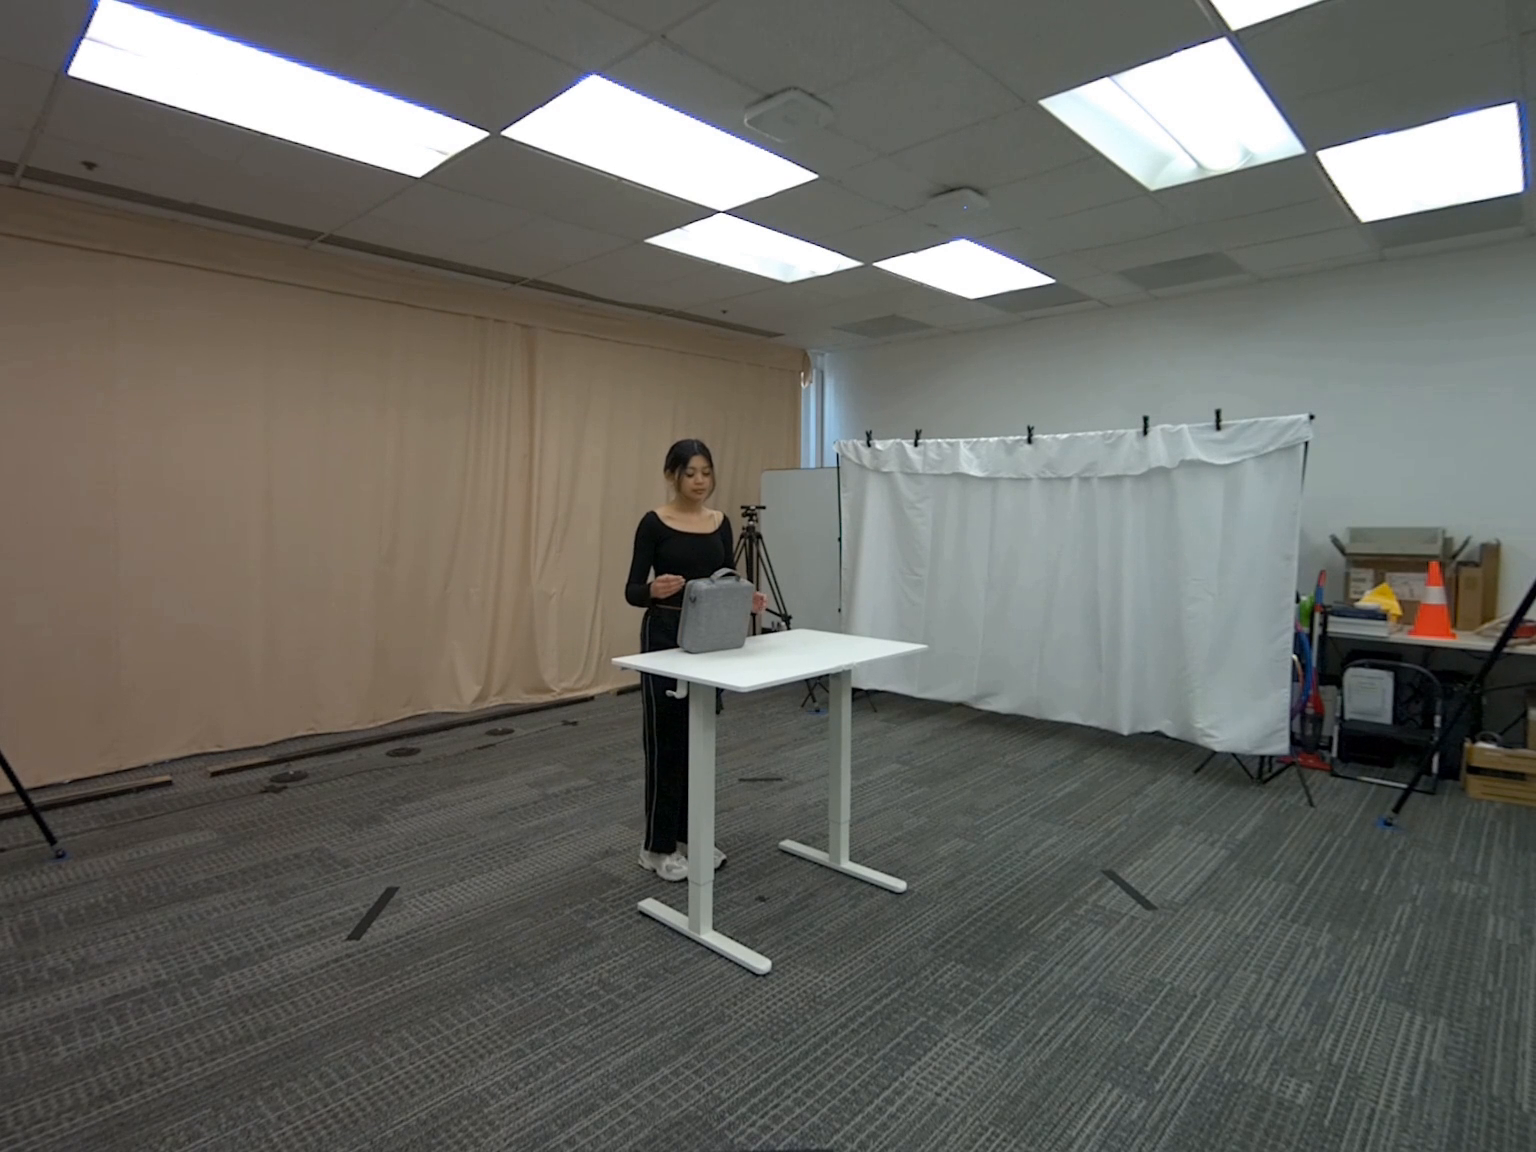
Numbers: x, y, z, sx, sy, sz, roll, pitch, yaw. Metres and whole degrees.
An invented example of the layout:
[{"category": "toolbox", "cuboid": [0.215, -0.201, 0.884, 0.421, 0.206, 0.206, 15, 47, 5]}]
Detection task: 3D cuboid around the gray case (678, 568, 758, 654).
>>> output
[{"category": "gray case", "cuboid": [-0.178, 0.132, 2.953, 0.249, 0.259, 0.108, -3, 18, -39]}]
